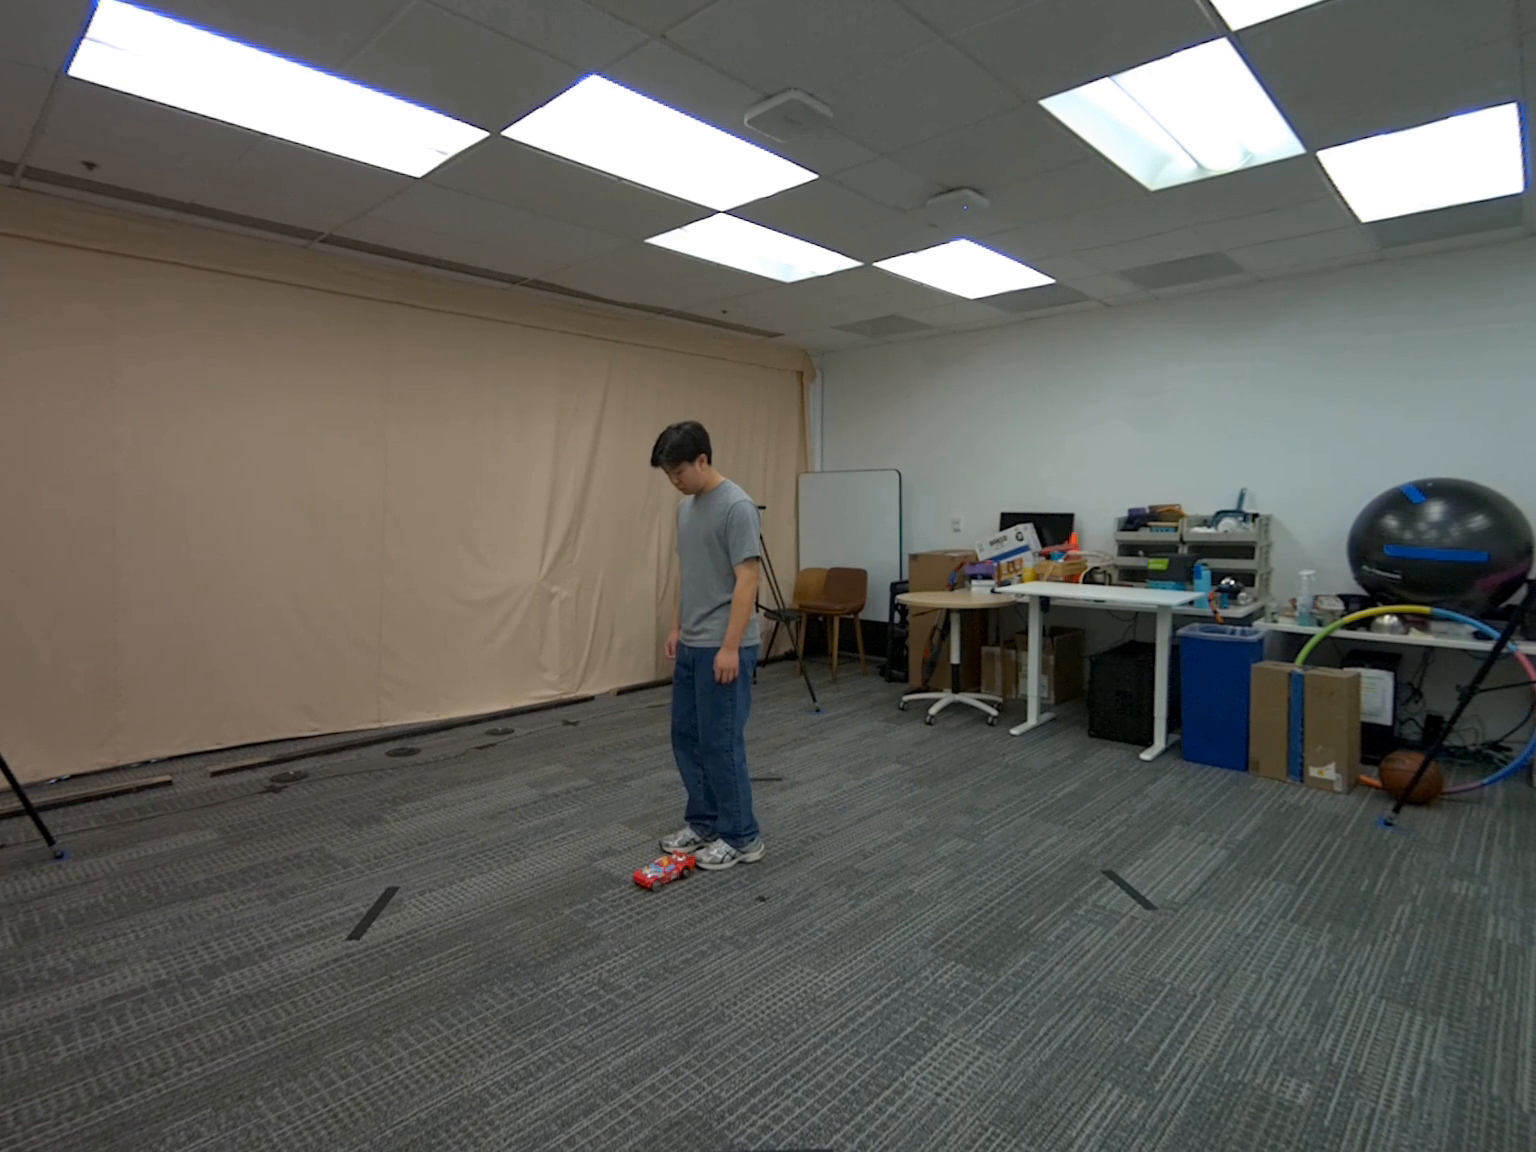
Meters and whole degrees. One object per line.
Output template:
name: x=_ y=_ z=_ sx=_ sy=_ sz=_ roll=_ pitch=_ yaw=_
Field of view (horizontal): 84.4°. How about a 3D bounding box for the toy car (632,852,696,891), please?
toy car: x=-0.383 y=1.102 z=3.142 sx=0.134 sy=0.082 sz=0.248 roll=3 pitch=16 yaw=43
